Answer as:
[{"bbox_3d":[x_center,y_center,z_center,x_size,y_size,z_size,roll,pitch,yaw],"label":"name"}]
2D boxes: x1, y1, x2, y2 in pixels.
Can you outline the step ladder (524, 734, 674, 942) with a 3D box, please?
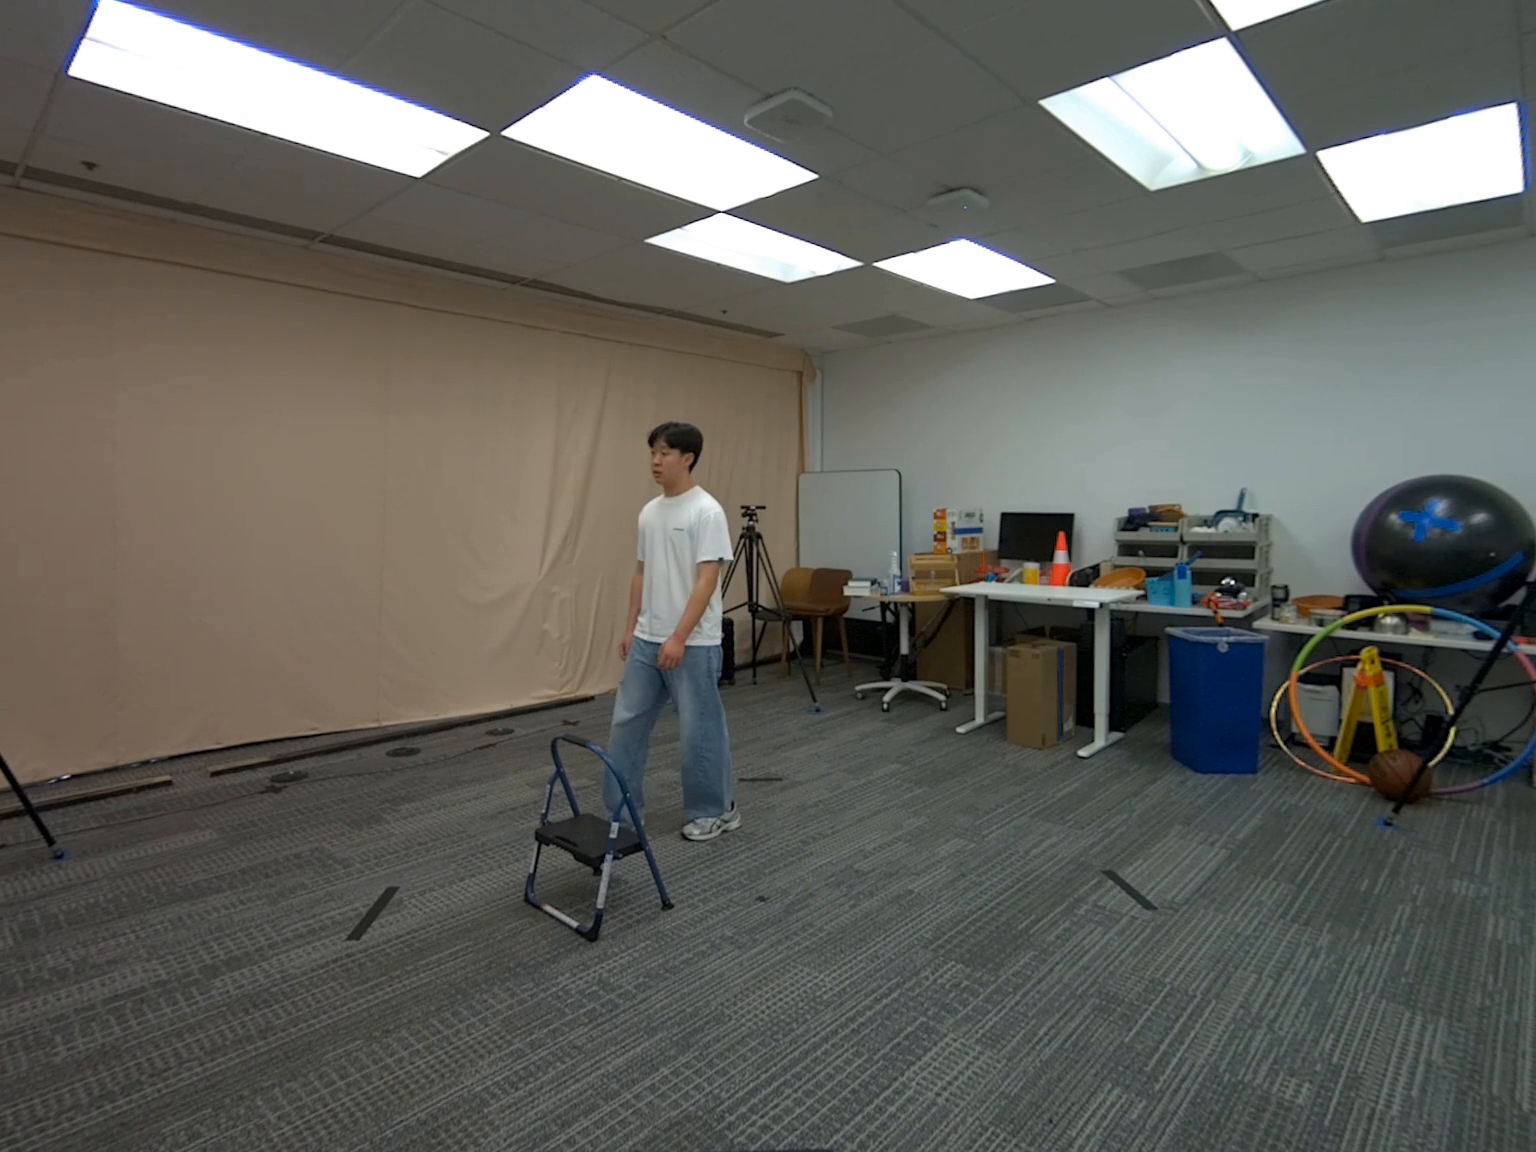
[{"bbox_3d":[-0.598,0.844,2.935,0.445,0.605,0.338,3,5,43],"label":"step ladder"}]
